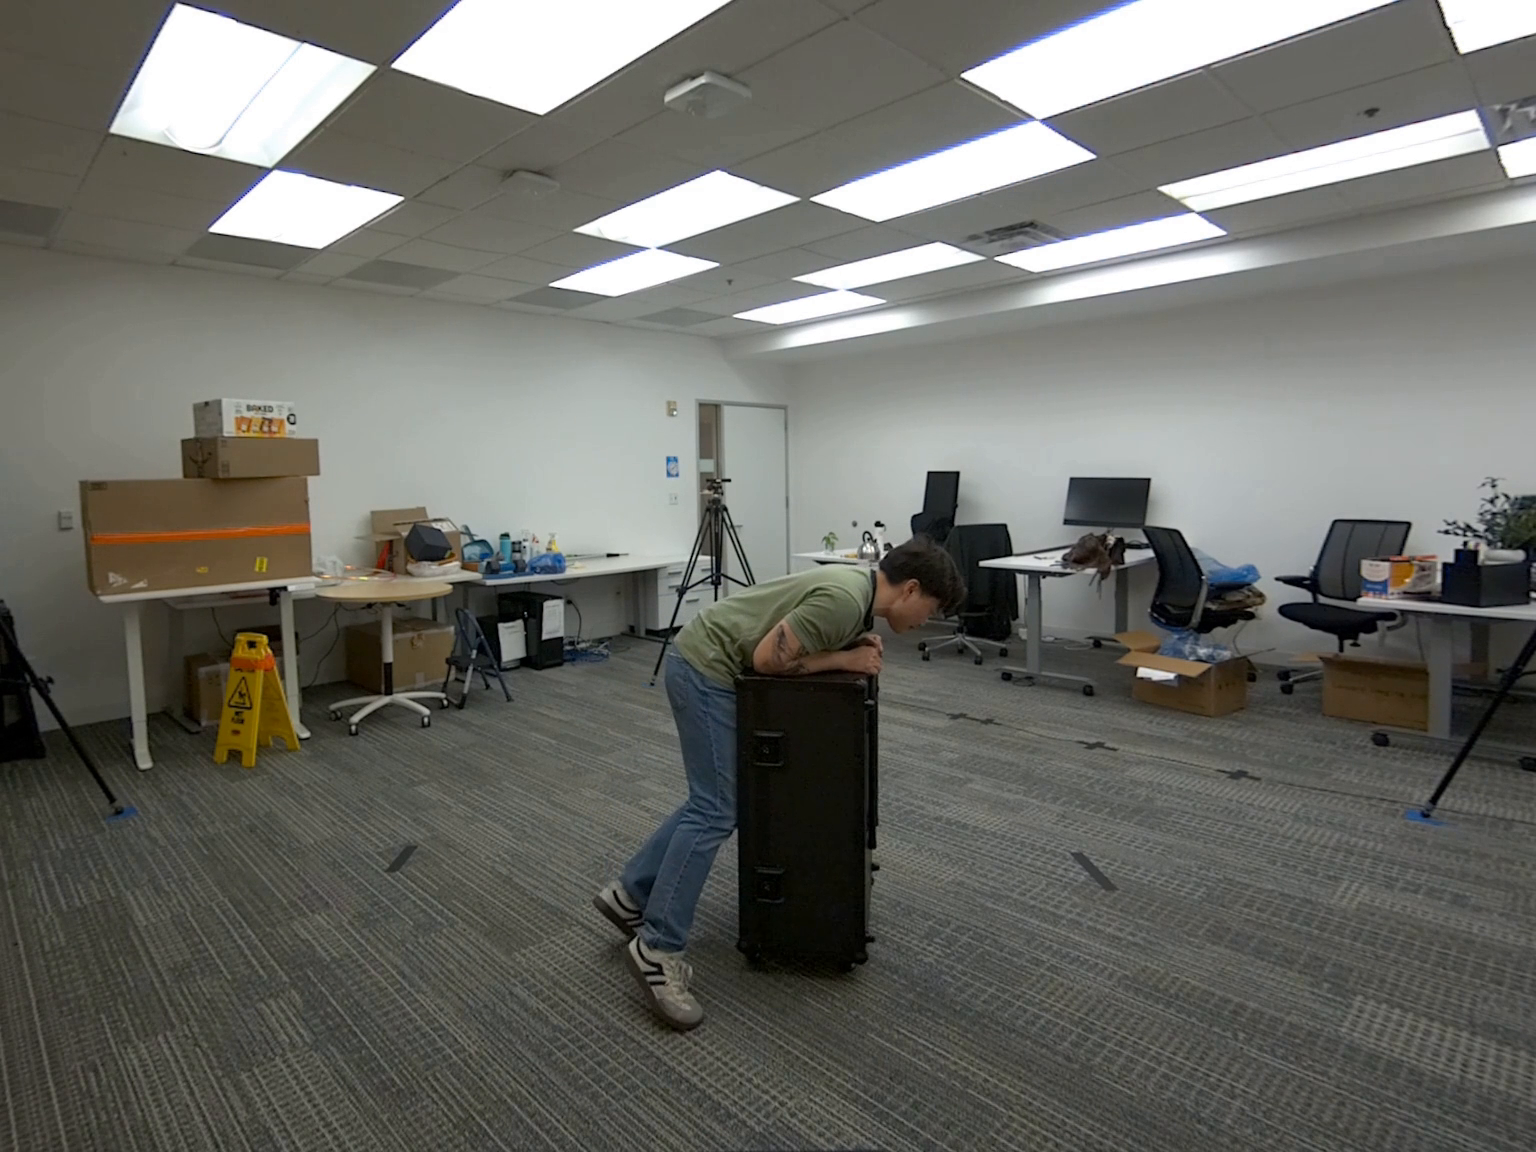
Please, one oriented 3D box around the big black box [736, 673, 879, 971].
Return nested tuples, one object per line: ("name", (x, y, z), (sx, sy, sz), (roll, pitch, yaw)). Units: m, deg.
("big black box", (0.142, 0.679, 2.577), (0.401, 0.858, 0.518), (1, 5, 10))
